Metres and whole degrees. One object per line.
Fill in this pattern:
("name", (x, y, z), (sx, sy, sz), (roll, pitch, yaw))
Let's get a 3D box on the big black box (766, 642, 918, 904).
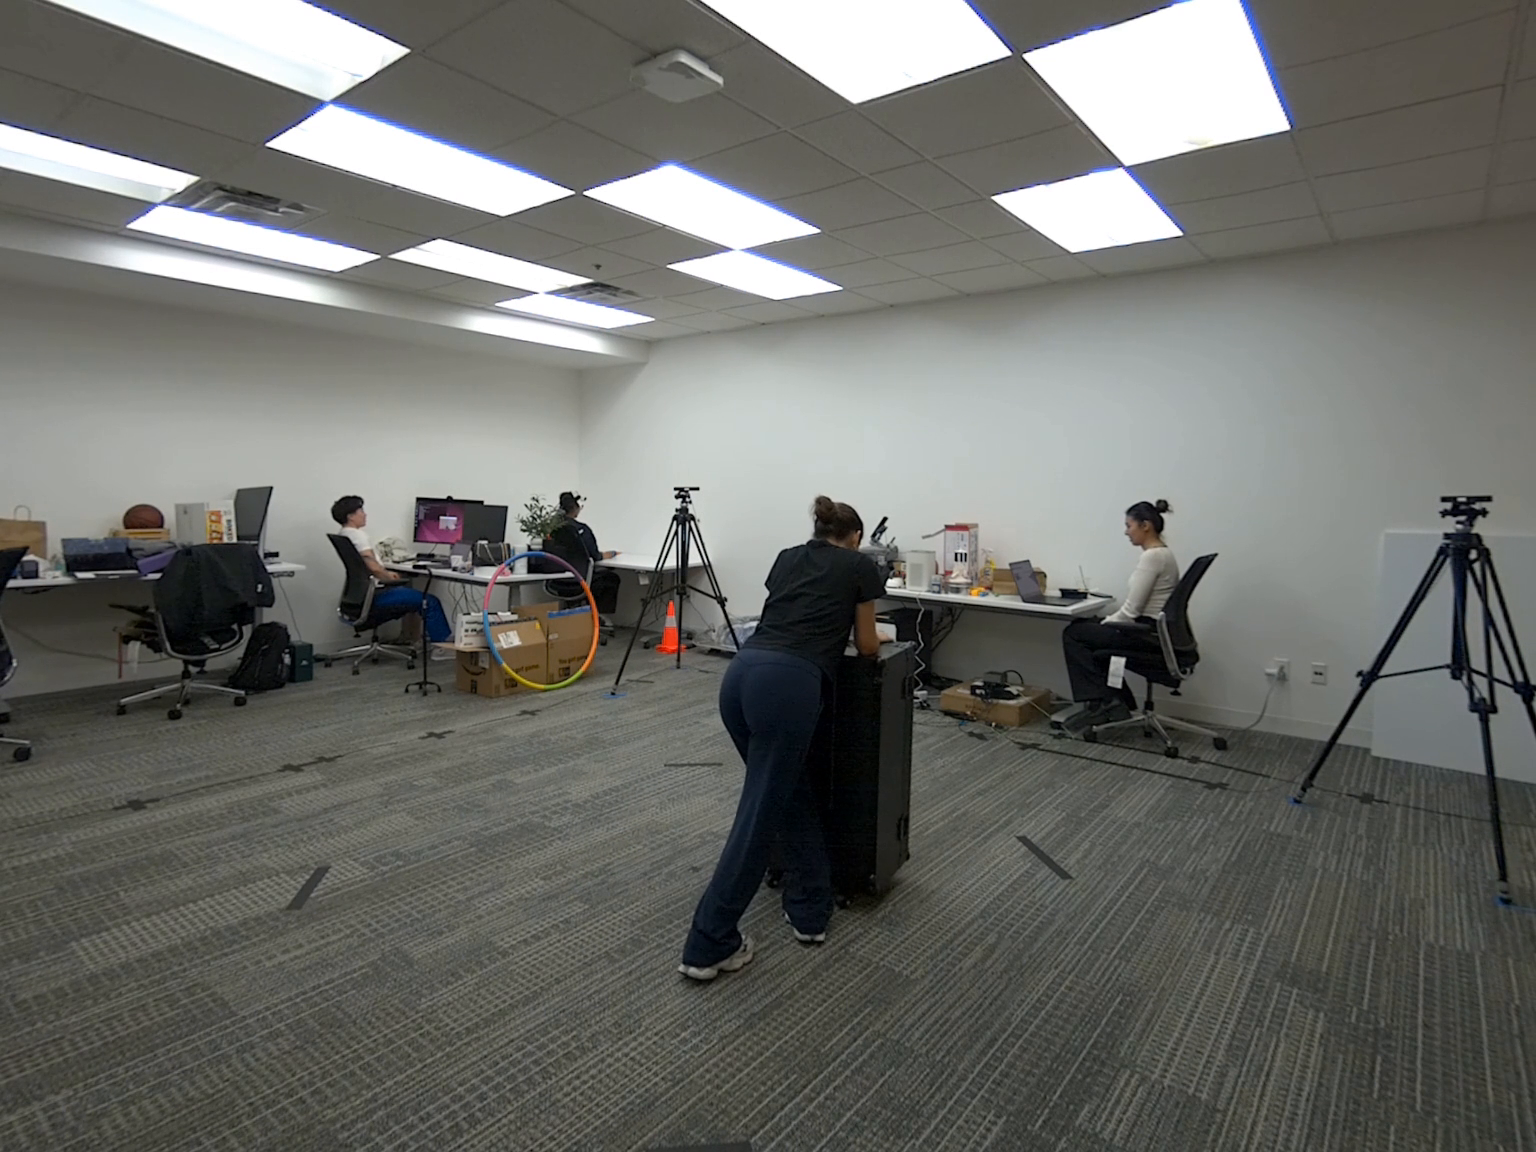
("big black box", (0.236, 0.603, 3.018), (0.537, 0.859, 0.386), (4, 3, 29))
